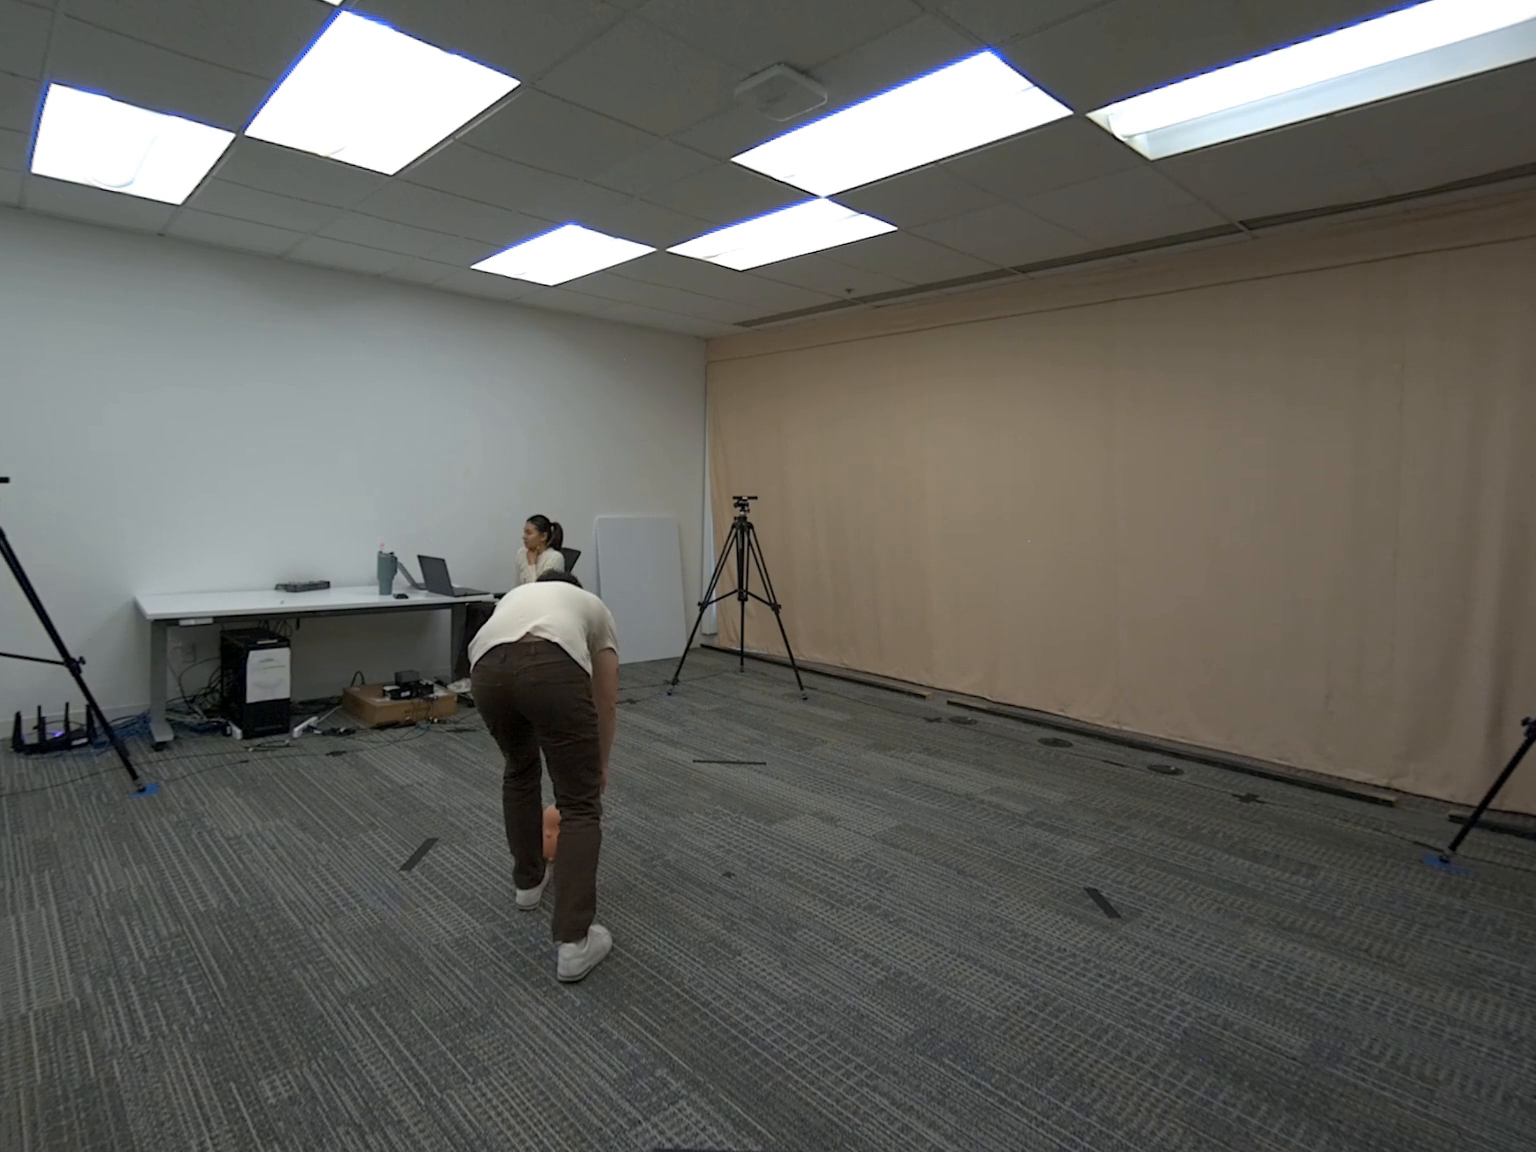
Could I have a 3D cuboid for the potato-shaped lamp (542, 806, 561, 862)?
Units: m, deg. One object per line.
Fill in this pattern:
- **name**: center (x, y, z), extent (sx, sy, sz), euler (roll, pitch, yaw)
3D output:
- **potato-shaped lamp**: center (-0.805, 0.980, 3.231), extent (0.162, 0.197, 0.174), euler (-3, 4, -22)
